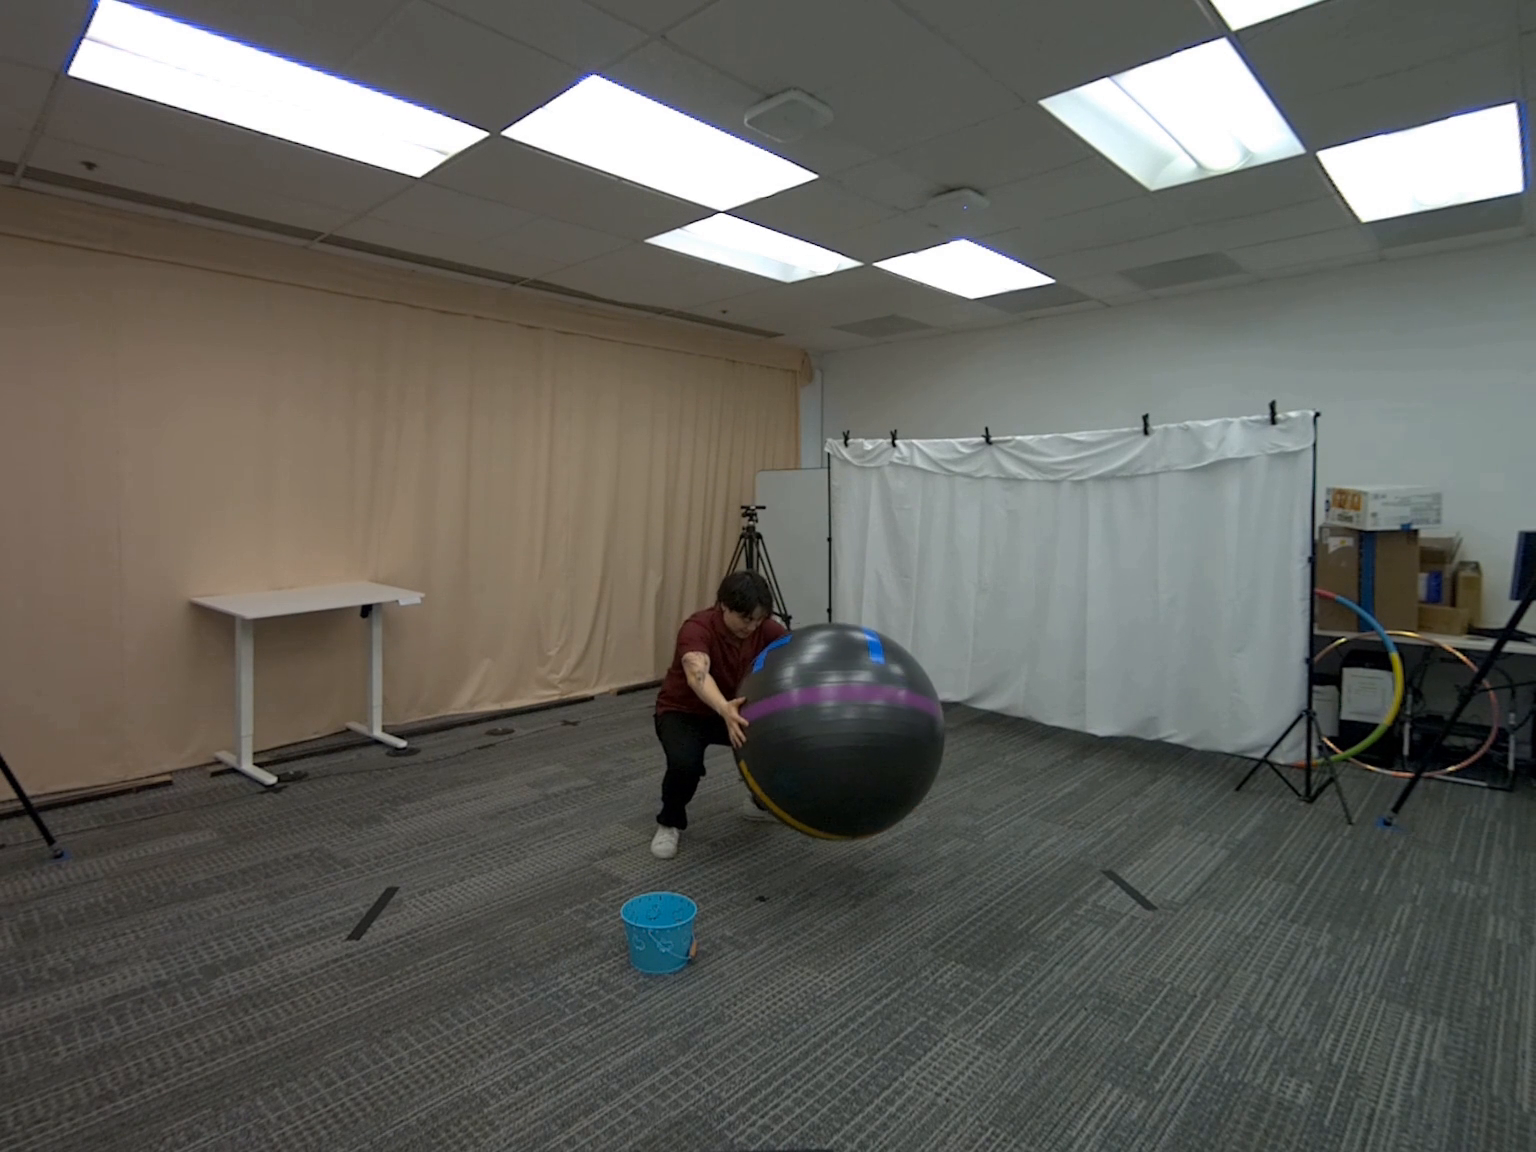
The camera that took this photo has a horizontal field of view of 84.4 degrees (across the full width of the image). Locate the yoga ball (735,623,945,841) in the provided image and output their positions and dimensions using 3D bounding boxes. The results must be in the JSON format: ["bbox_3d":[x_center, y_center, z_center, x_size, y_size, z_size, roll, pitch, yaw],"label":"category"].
[{"bbox_3d":[0.252,0.550,3.031,0.757,0.756,0.760,0,4,-2],"label":"yoga ball"}]
